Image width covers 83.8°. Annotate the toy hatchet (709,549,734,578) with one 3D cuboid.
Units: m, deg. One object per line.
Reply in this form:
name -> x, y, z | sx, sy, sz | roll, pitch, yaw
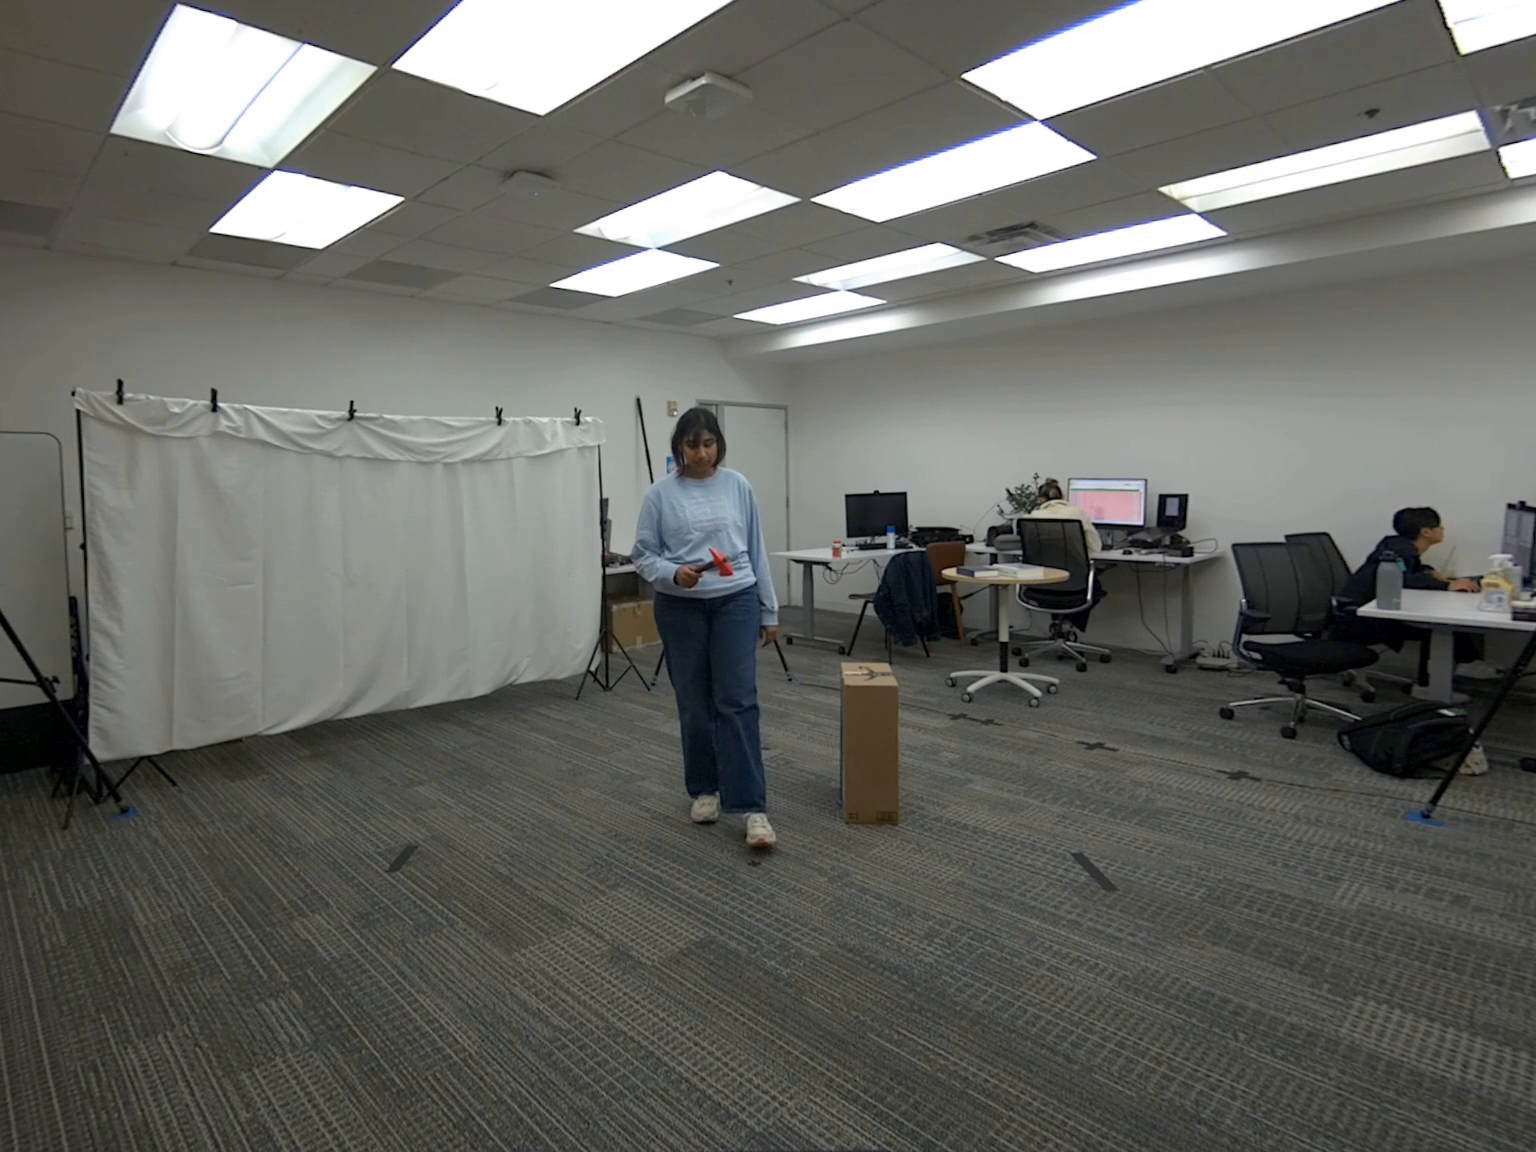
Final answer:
toy hatchet -> -0.229, -0.004, 3.213 | 0.270, 0.130, 0.030 | -43, 9, 47
